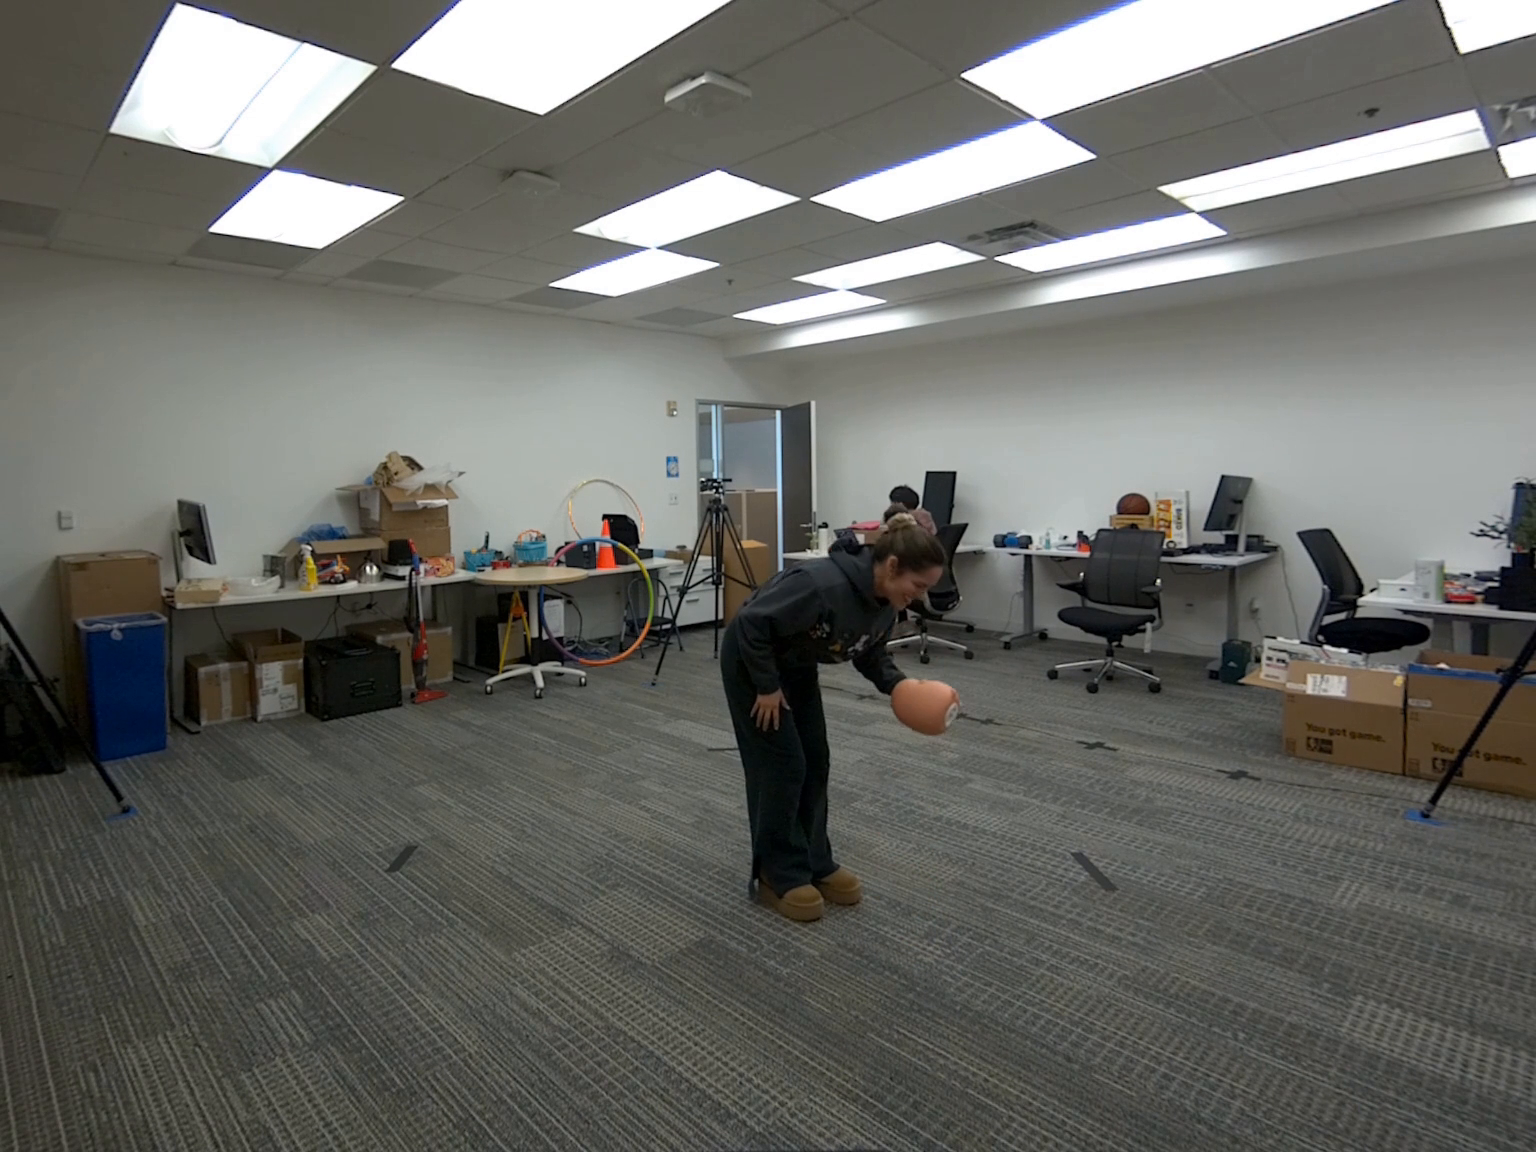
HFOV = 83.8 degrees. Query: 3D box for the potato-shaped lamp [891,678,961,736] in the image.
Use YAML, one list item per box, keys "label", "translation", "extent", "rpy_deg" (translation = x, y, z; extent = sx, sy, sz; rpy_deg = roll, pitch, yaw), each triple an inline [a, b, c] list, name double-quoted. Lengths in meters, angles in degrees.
- label: "potato-shaped lamp"
  translation: [0.474, 0.398, 2.652]
  extent: [0.205, 0.172, 0.158]
  rpy_deg: [23, -19, 36]
